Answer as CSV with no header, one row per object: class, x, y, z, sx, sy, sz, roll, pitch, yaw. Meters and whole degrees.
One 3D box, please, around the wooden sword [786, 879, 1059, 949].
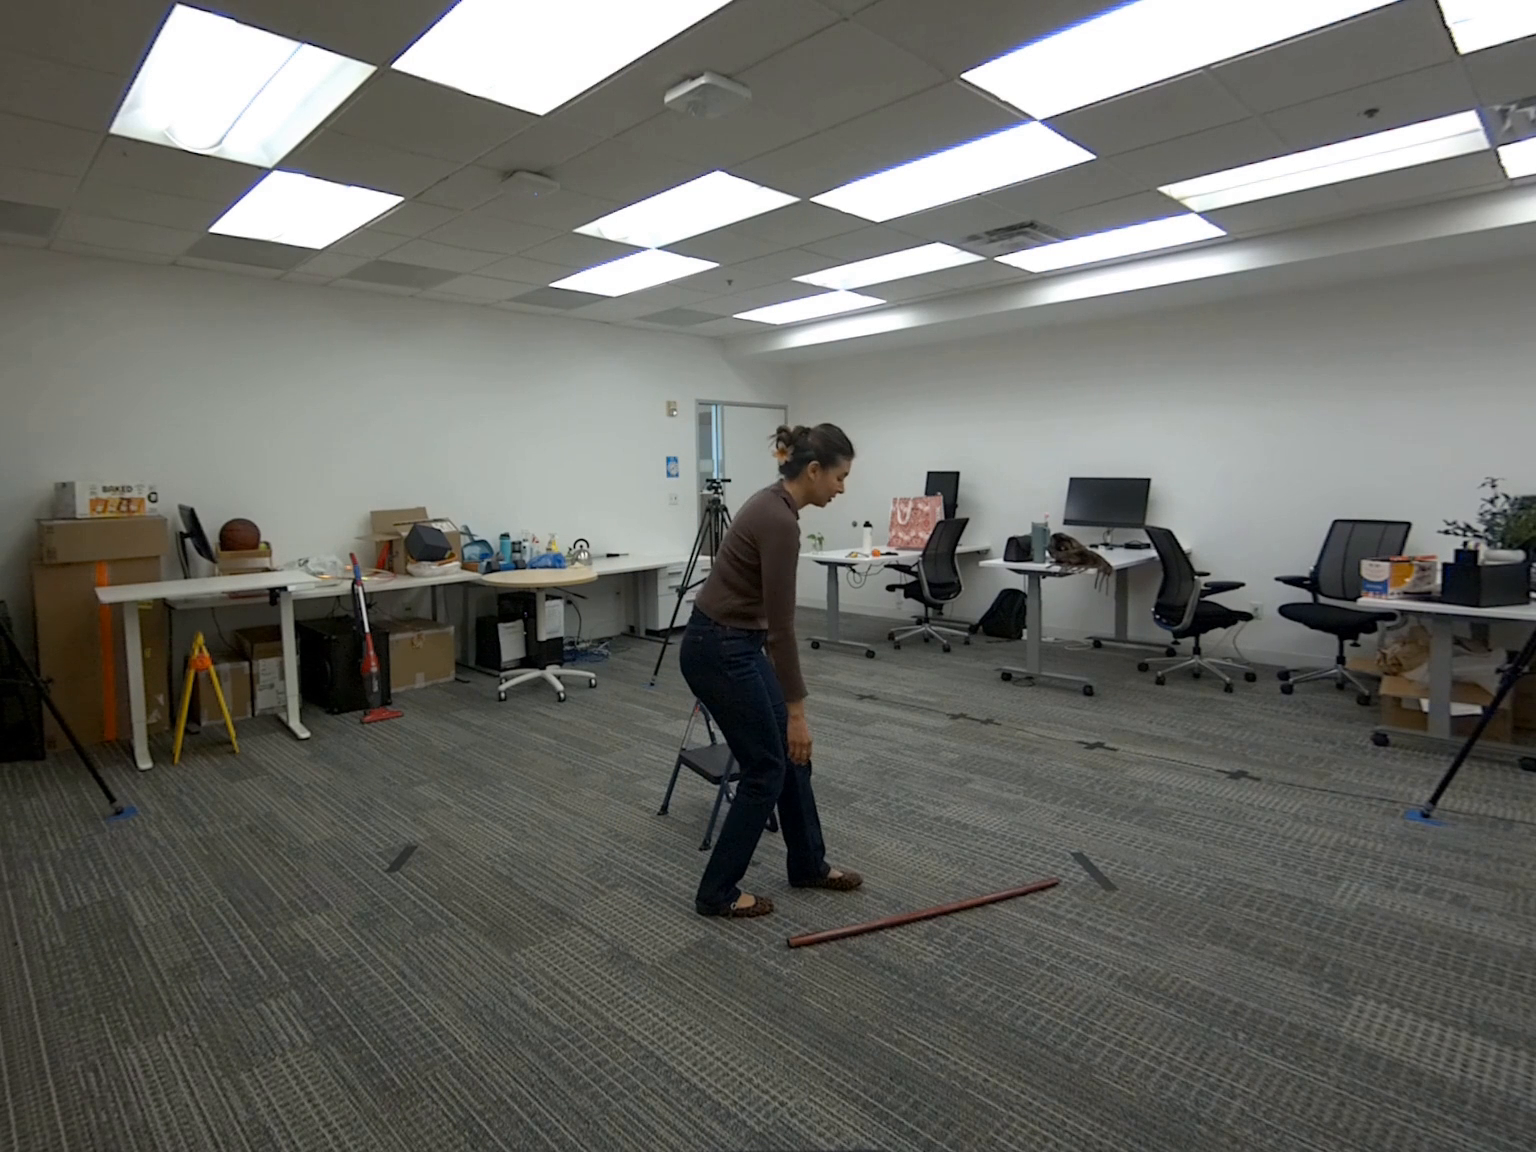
wooden sword,0.525,1.054,2.728,1.006,0.024,0.053,-3,14,-20
